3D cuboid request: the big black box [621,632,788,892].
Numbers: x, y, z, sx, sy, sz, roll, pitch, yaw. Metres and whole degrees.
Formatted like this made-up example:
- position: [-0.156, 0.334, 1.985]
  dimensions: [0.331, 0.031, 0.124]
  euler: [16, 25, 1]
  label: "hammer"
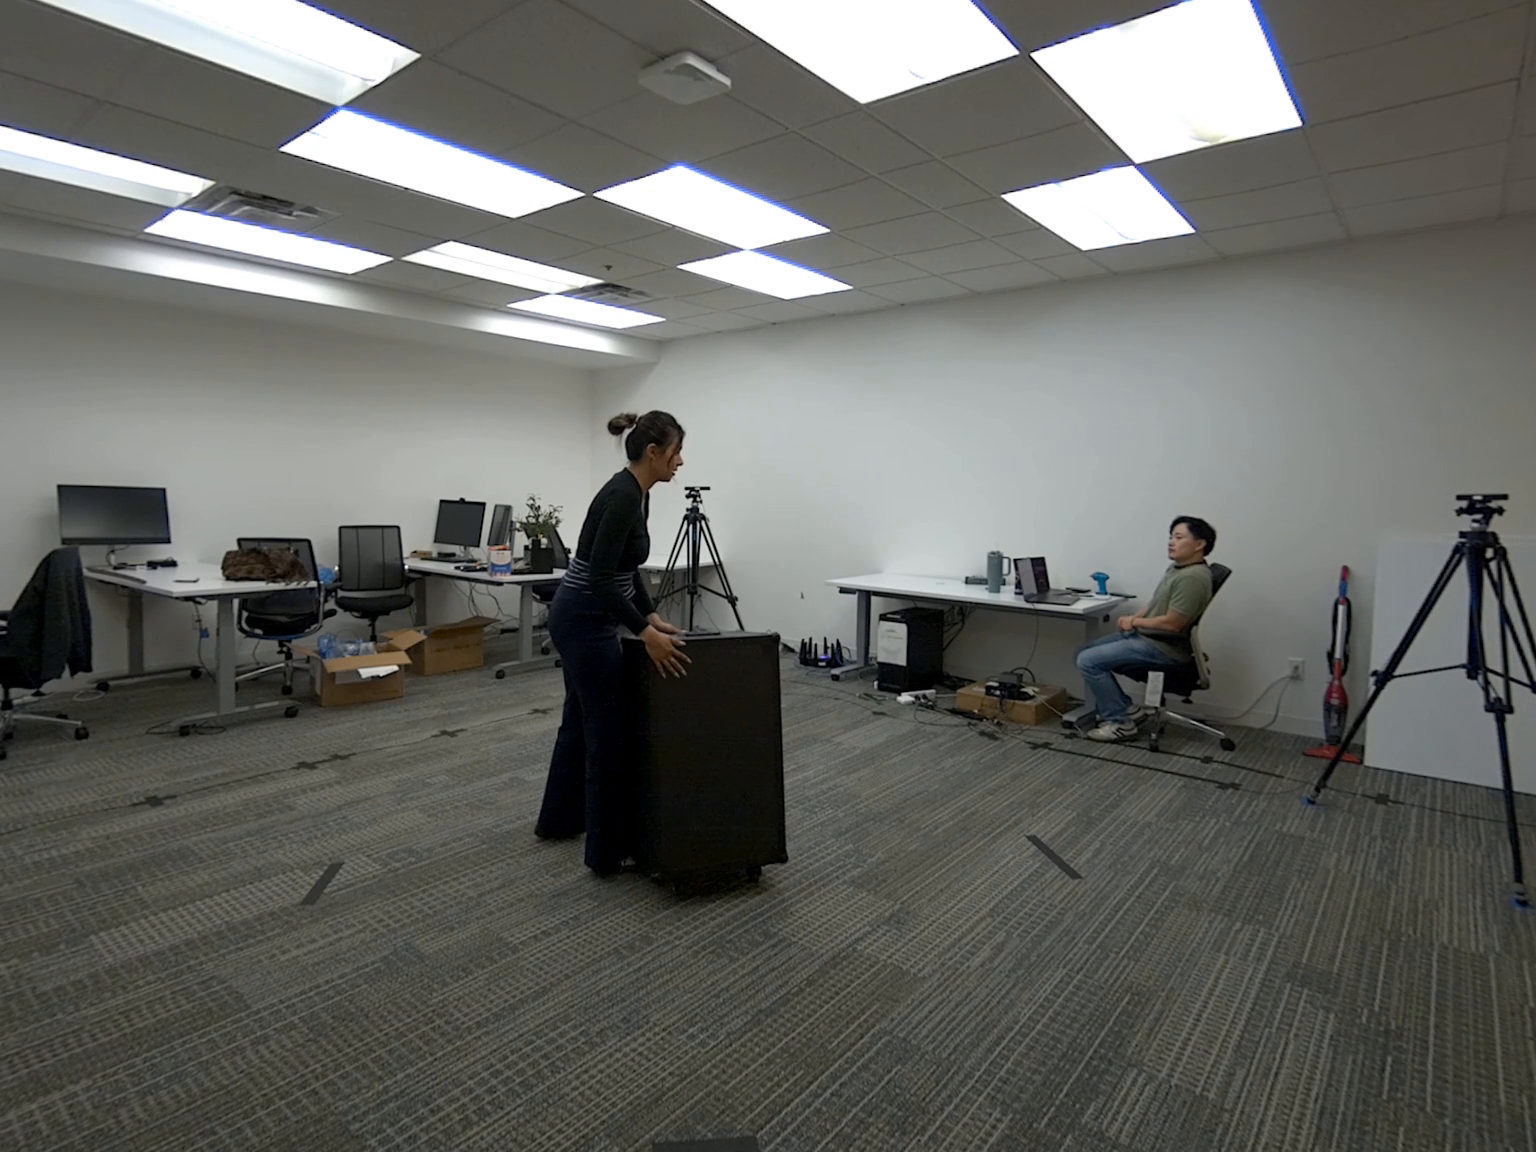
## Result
- position: [-0.241, 0.577, 3.038]
  dimensions: [0.510, 0.865, 0.404]
  euler: [-1, -4, -23]
  label: "big black box"
